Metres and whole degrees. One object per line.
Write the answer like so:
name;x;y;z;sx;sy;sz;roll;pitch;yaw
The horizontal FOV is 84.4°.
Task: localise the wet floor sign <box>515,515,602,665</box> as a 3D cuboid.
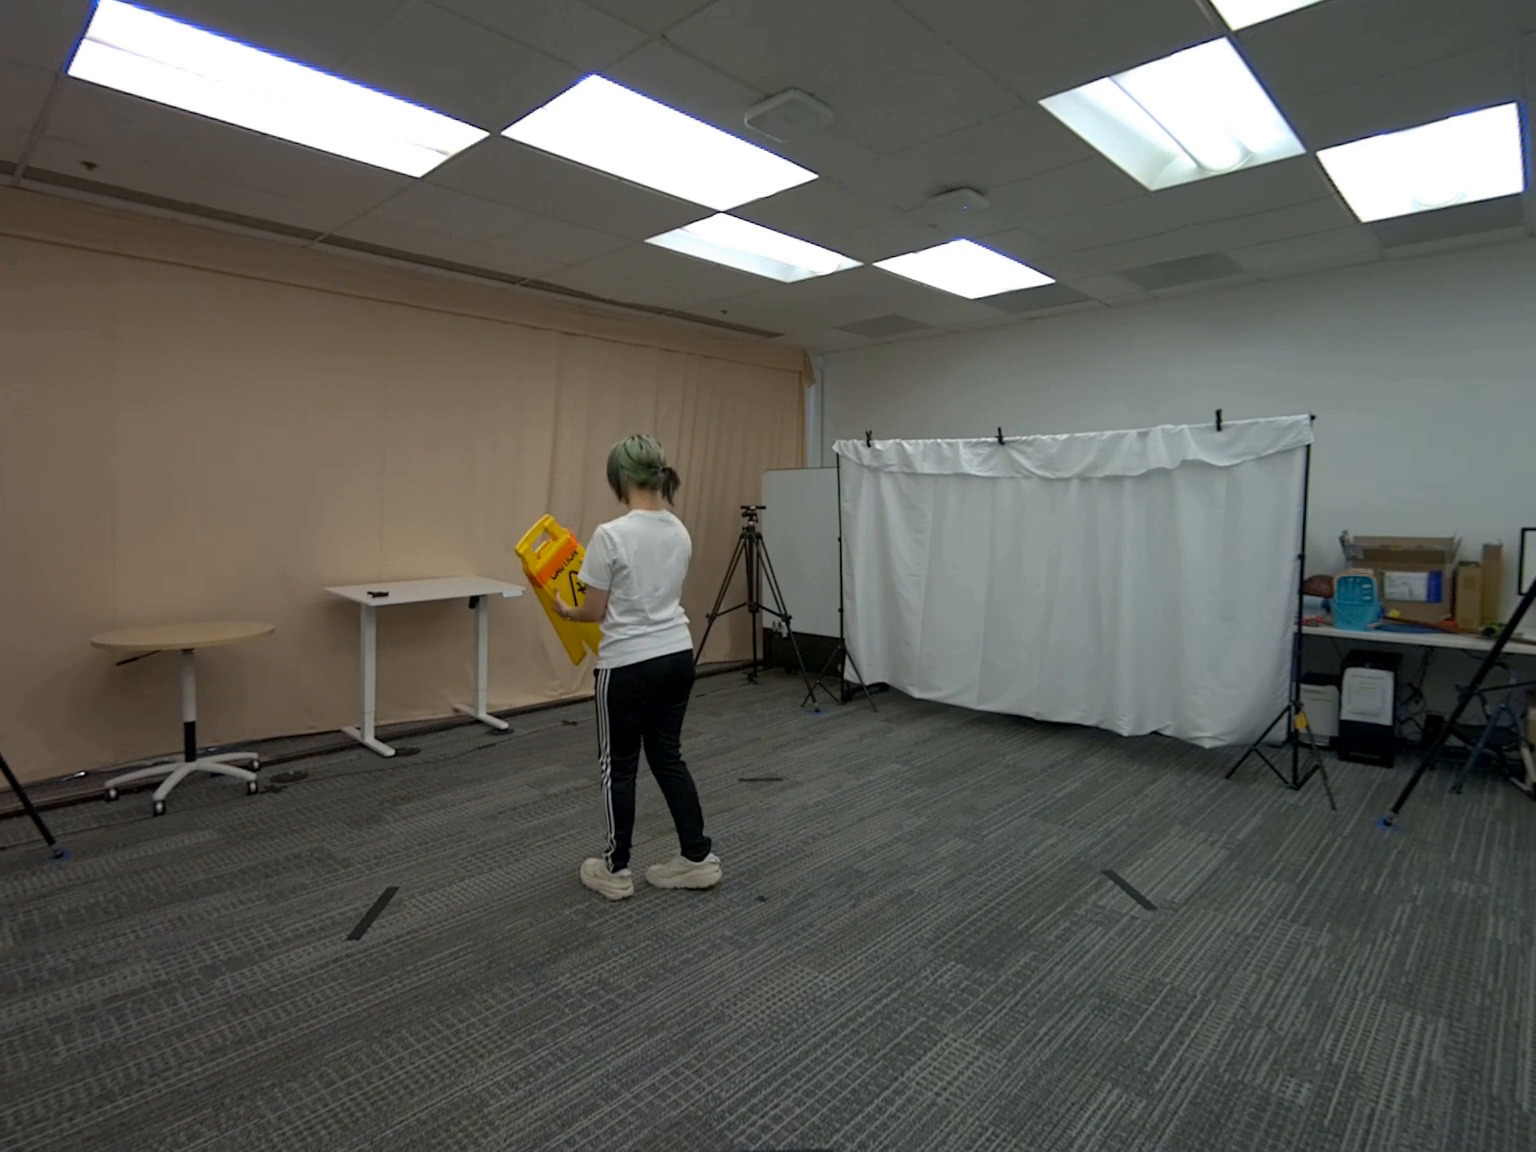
wet floor sign;-0.765;0.064;3.321;0.299;0.627;0.281;5;46;39
